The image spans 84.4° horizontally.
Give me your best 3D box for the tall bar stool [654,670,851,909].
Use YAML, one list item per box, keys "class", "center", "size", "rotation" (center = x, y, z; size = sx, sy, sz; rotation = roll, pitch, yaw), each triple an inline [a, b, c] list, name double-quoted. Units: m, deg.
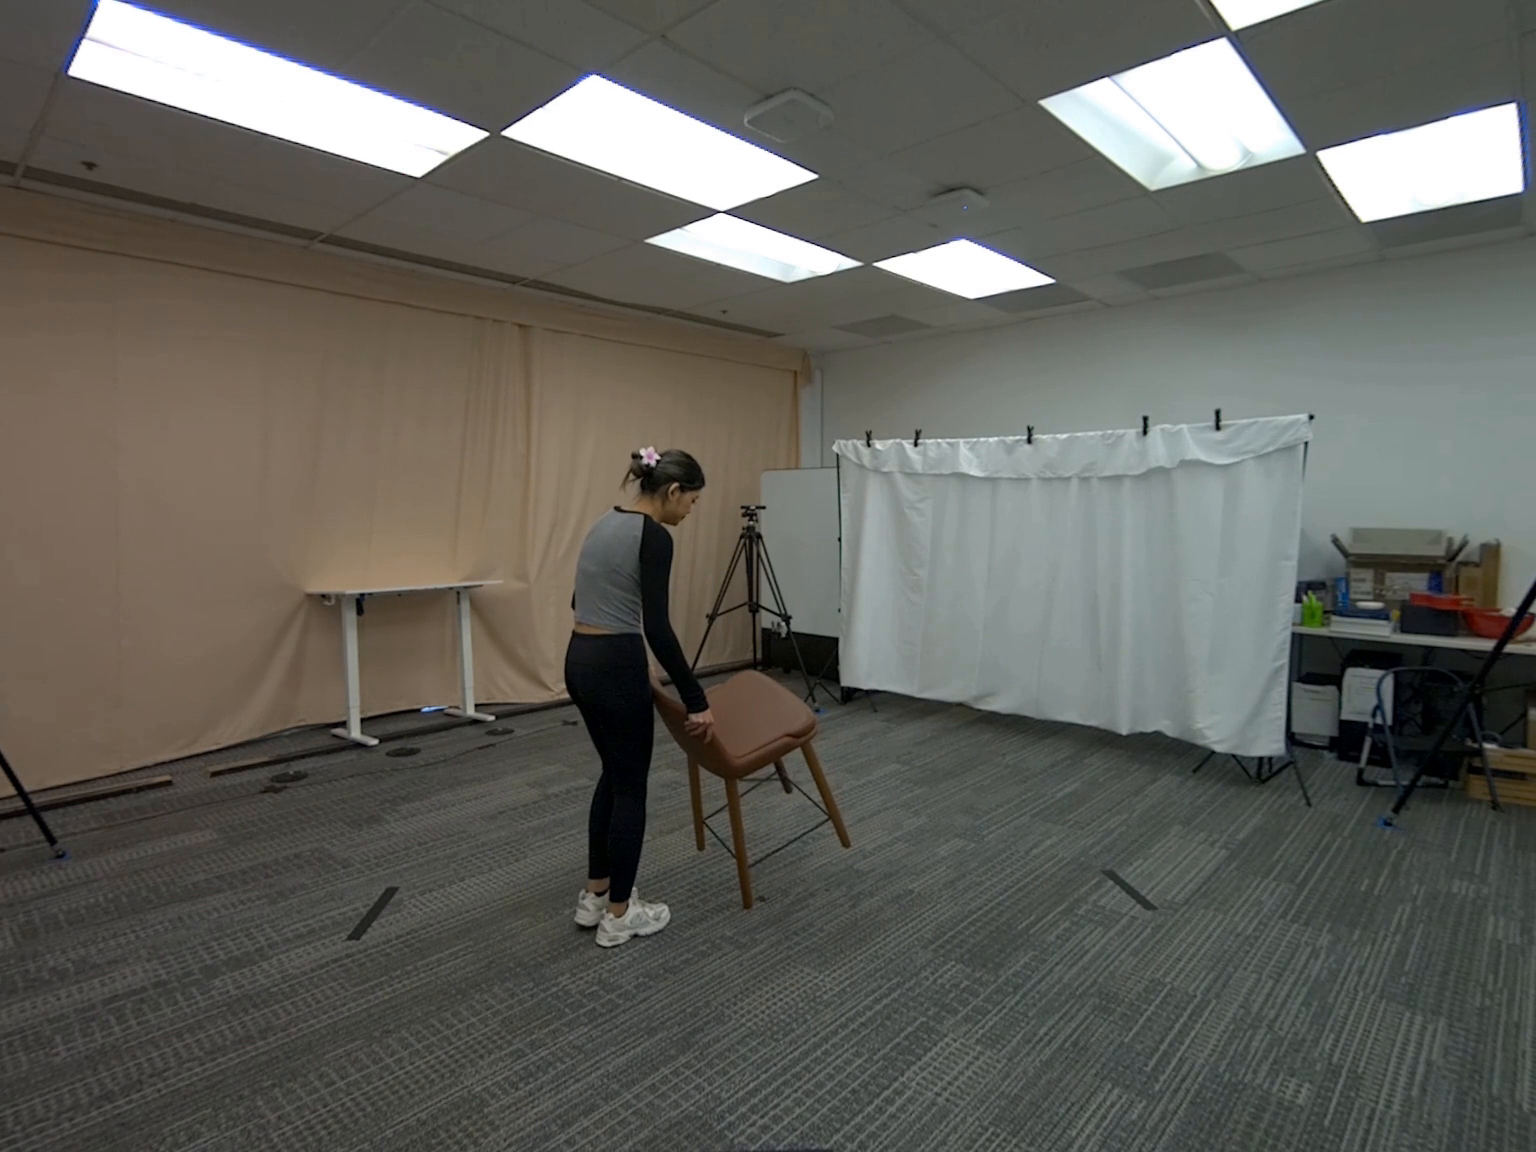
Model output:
- class: "tall bar stool"
  center: [-0.078, 0.635, 2.953]
  size: [0.461, 0.871, 0.472]
  rotation: [-26, 29, -21]
